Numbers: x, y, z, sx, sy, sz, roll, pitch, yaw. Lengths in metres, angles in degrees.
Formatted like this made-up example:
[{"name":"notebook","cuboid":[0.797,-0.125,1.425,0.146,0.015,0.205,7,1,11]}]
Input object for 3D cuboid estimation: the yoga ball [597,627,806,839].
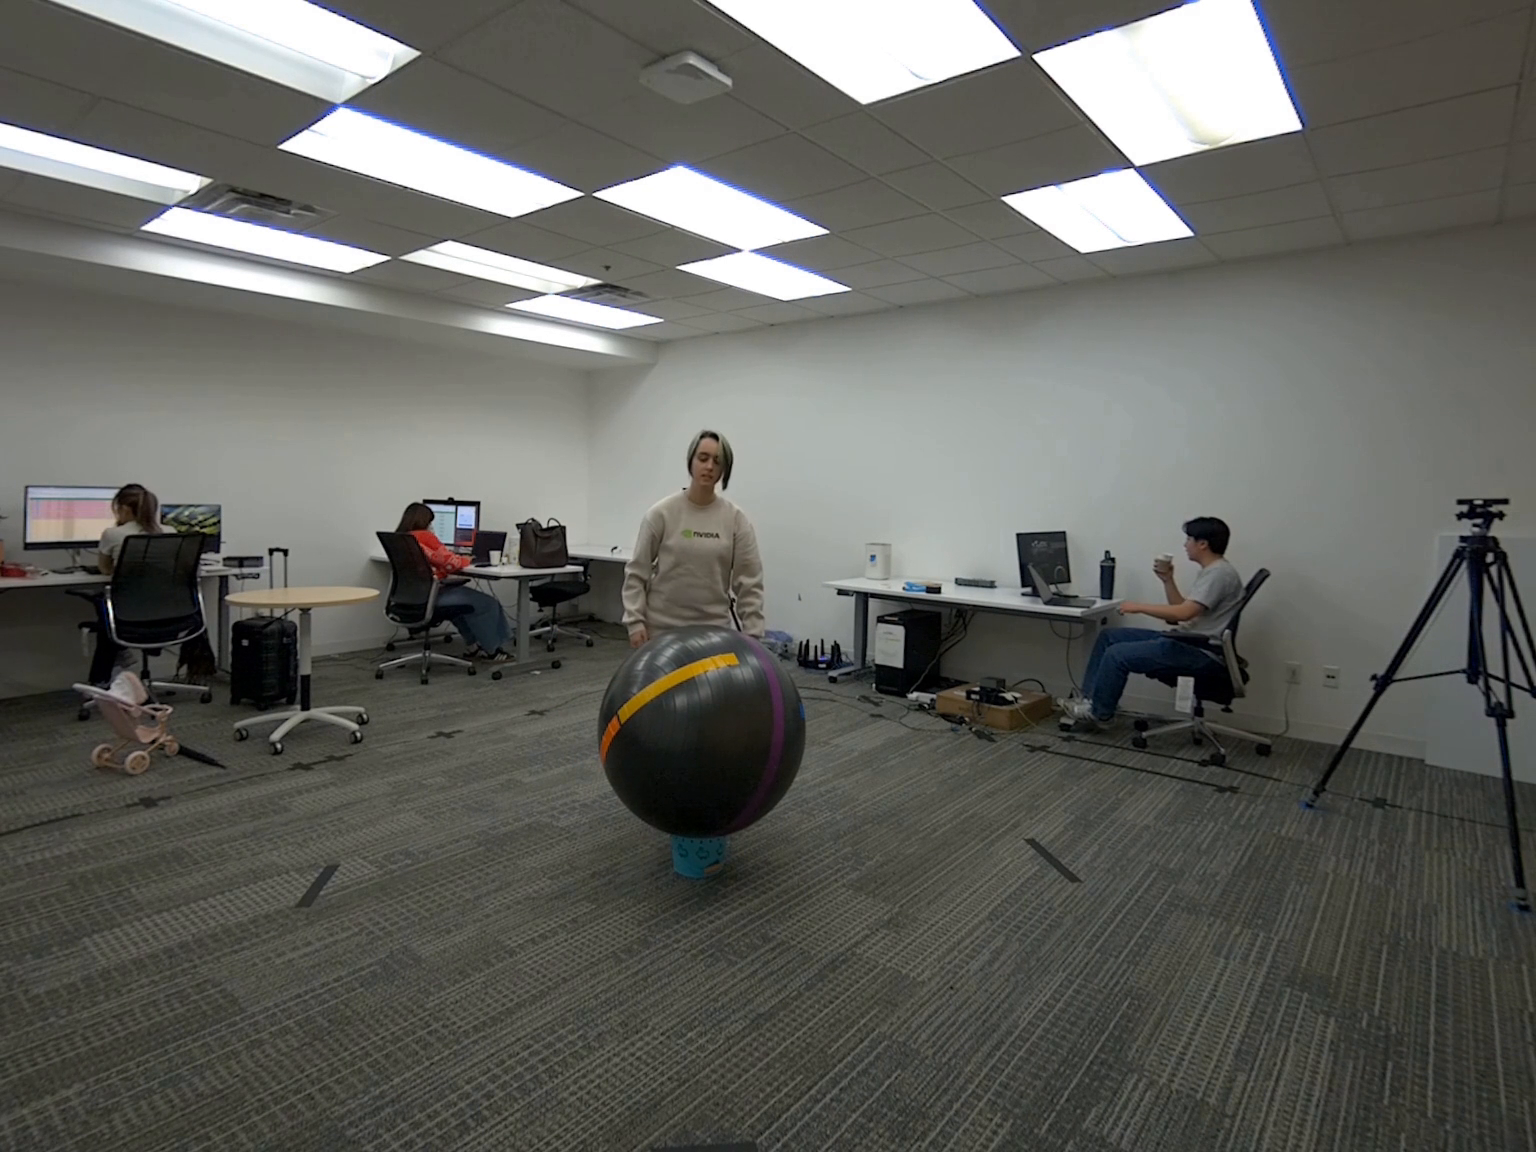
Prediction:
[{"name":"yoga ball","cuboid":[-0.254,0.553,3.106,0.757,0.756,0.762,1,4,-2]}]
